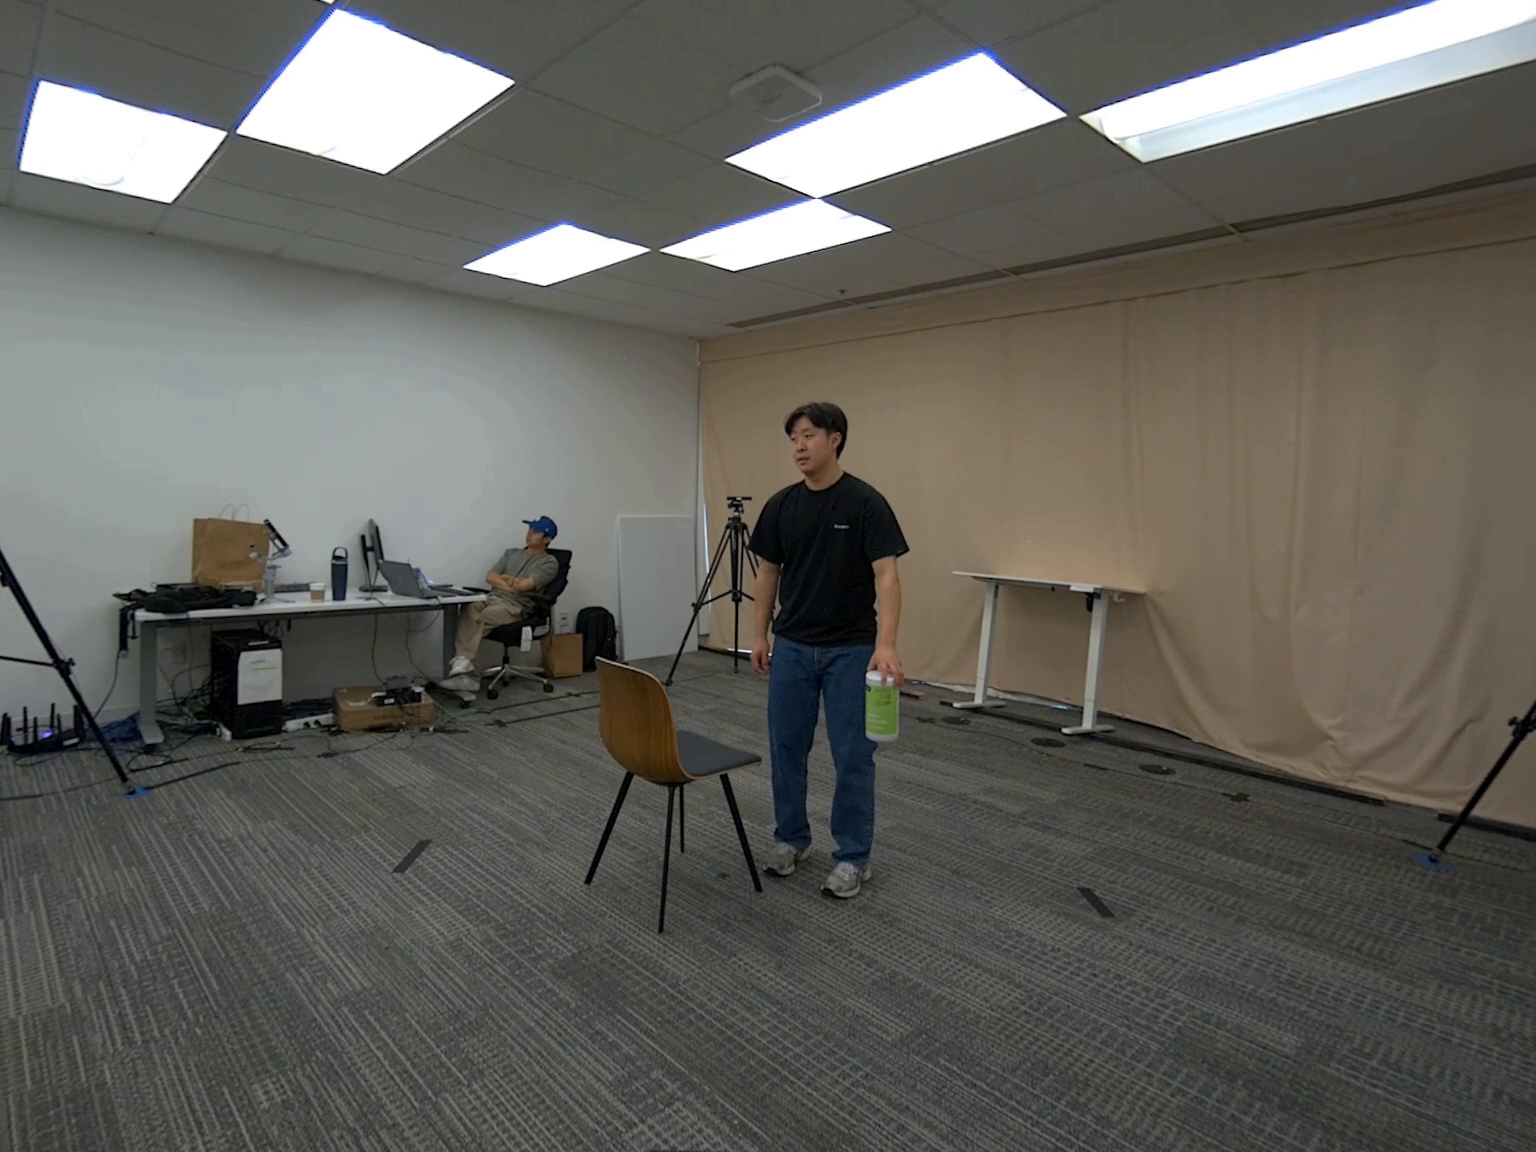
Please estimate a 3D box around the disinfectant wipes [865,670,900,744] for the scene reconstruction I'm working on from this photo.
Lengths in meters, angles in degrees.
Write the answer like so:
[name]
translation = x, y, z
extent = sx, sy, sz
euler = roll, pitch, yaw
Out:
[disinfectant wipes]
translation = 0.373, 0.426, 2.776
extent = 0.118, 0.216, 0.118
euler = -4, 8, -1
